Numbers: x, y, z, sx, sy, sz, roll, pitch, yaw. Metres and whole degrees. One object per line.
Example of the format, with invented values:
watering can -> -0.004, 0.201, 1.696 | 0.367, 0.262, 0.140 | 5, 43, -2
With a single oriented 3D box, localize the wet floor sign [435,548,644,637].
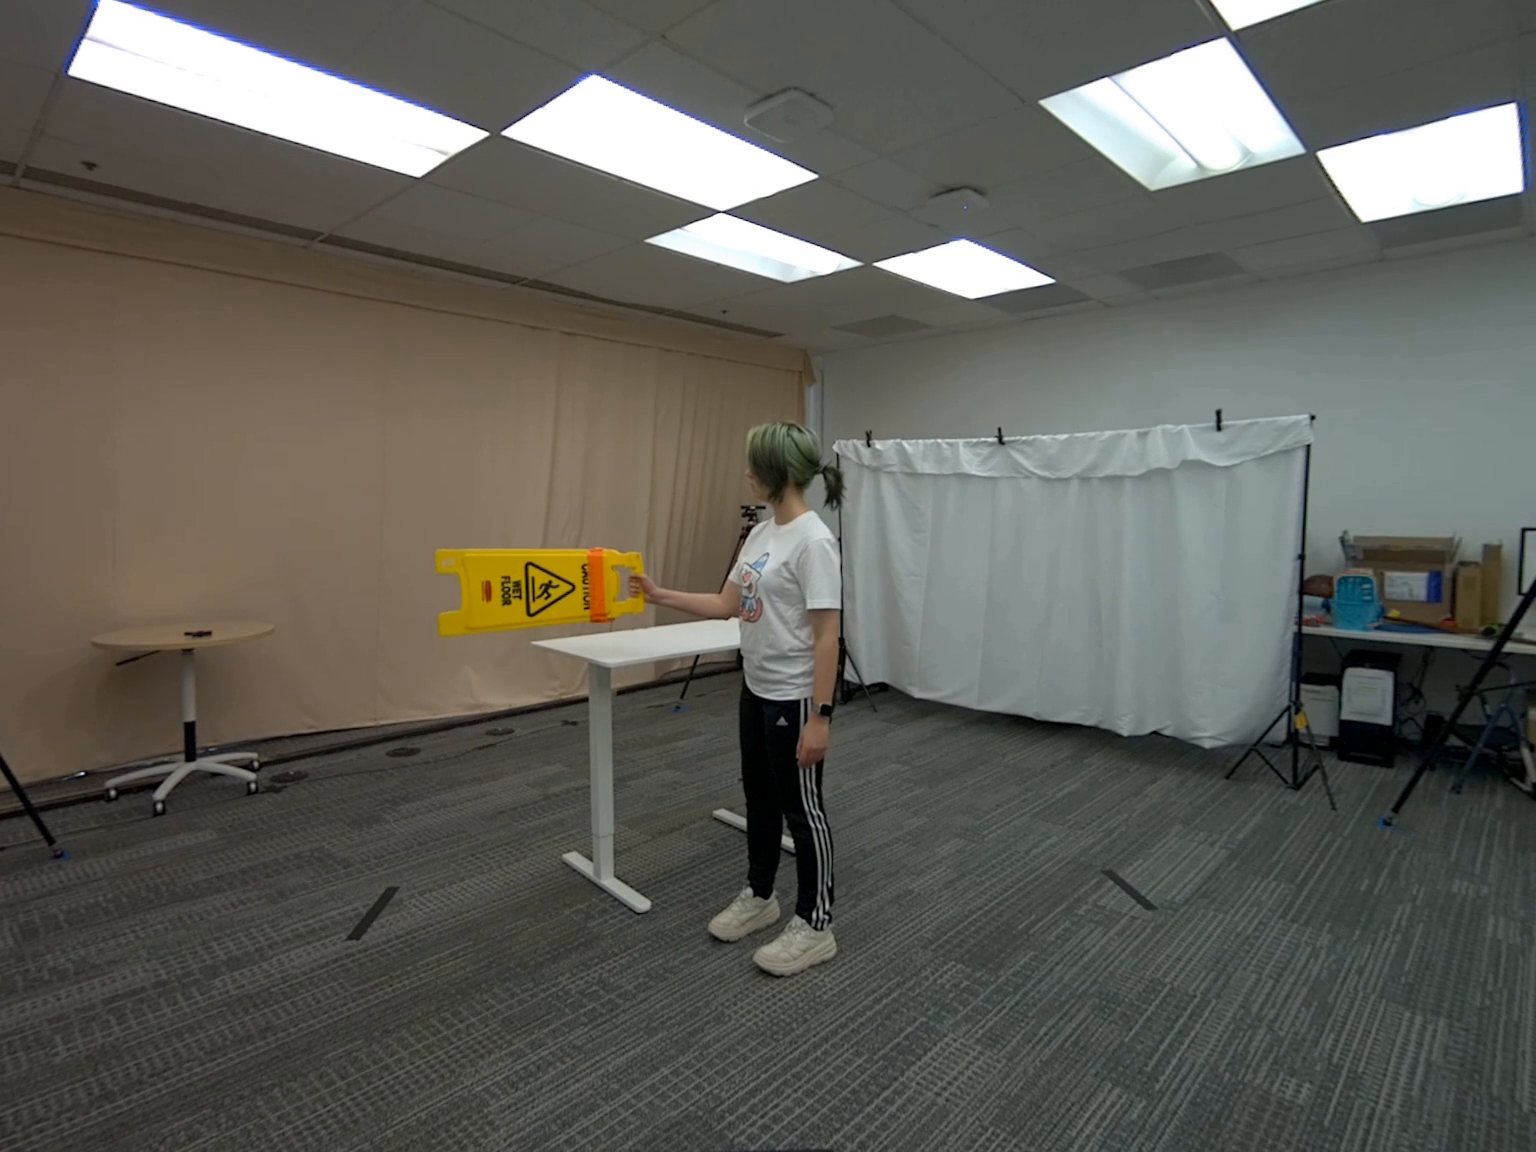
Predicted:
wet floor sign -> -0.726, 0.044, 2.785 | 0.649, 0.282, 0.289 | -3, 2, 4
